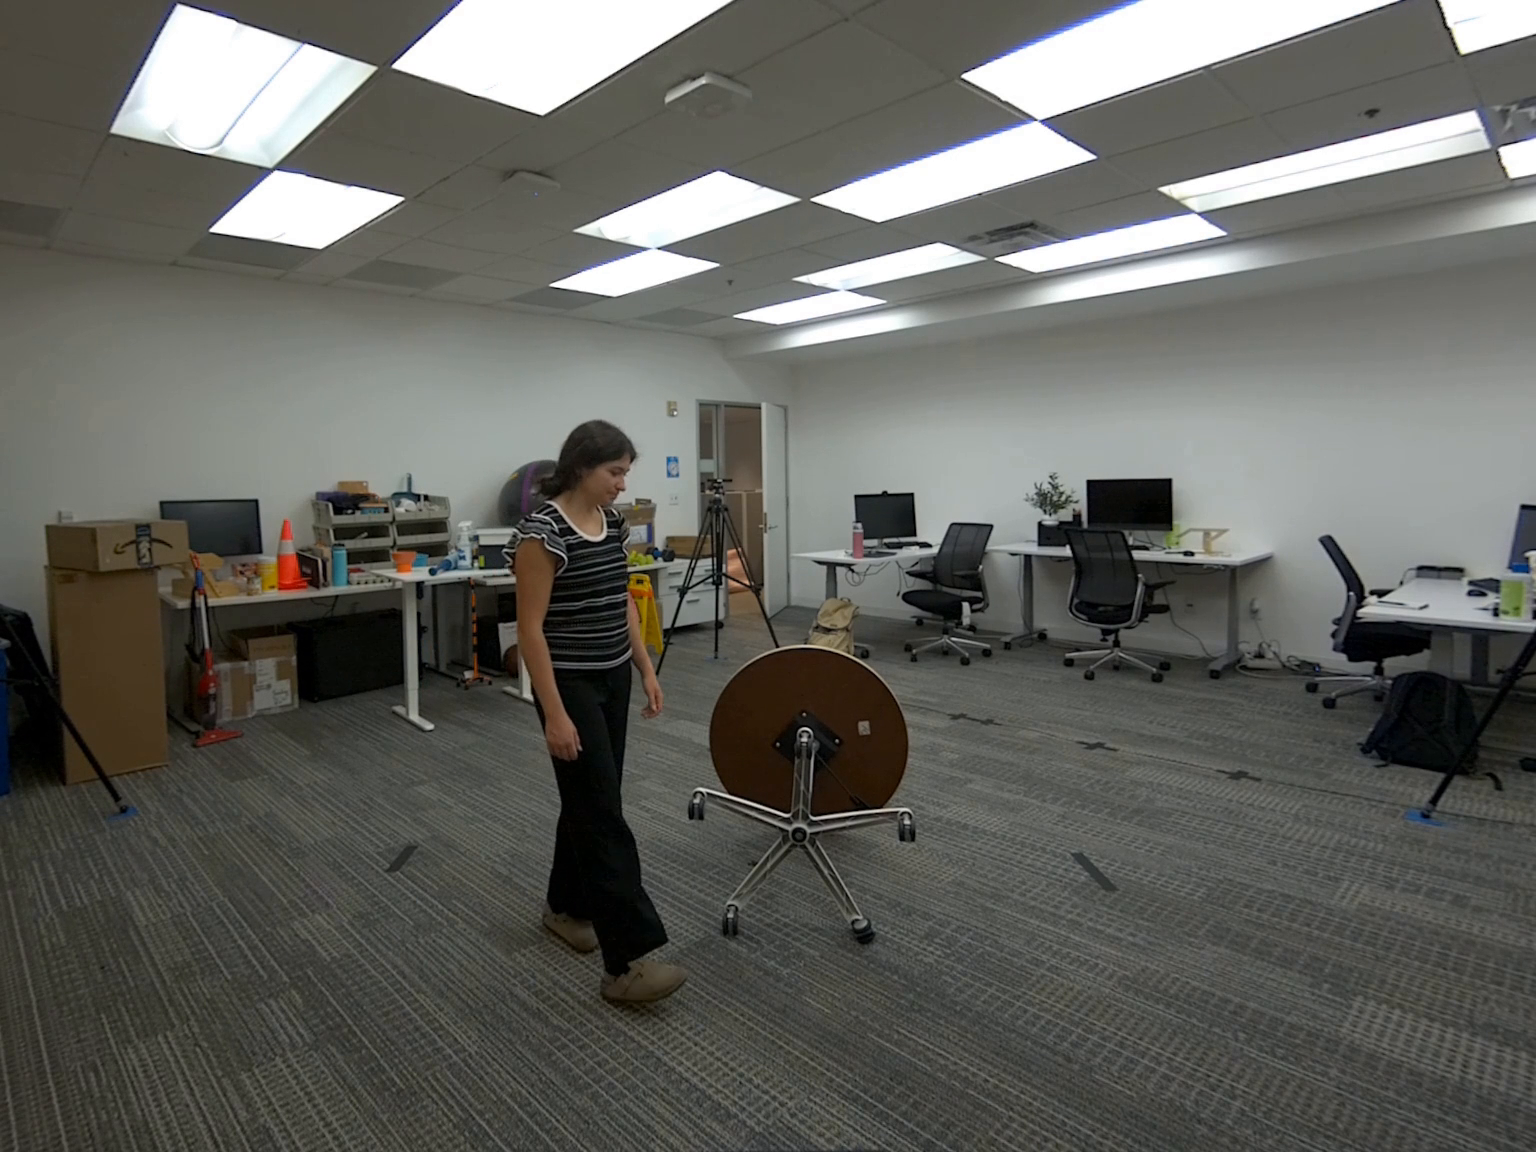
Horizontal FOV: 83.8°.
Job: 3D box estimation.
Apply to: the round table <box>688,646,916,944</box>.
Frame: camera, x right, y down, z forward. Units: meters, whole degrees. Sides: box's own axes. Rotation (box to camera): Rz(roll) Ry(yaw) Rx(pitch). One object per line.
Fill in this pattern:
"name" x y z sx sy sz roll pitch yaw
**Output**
"round table" 0.128 0.723 2.916 0.791 0.777 0.788 0 11 7
